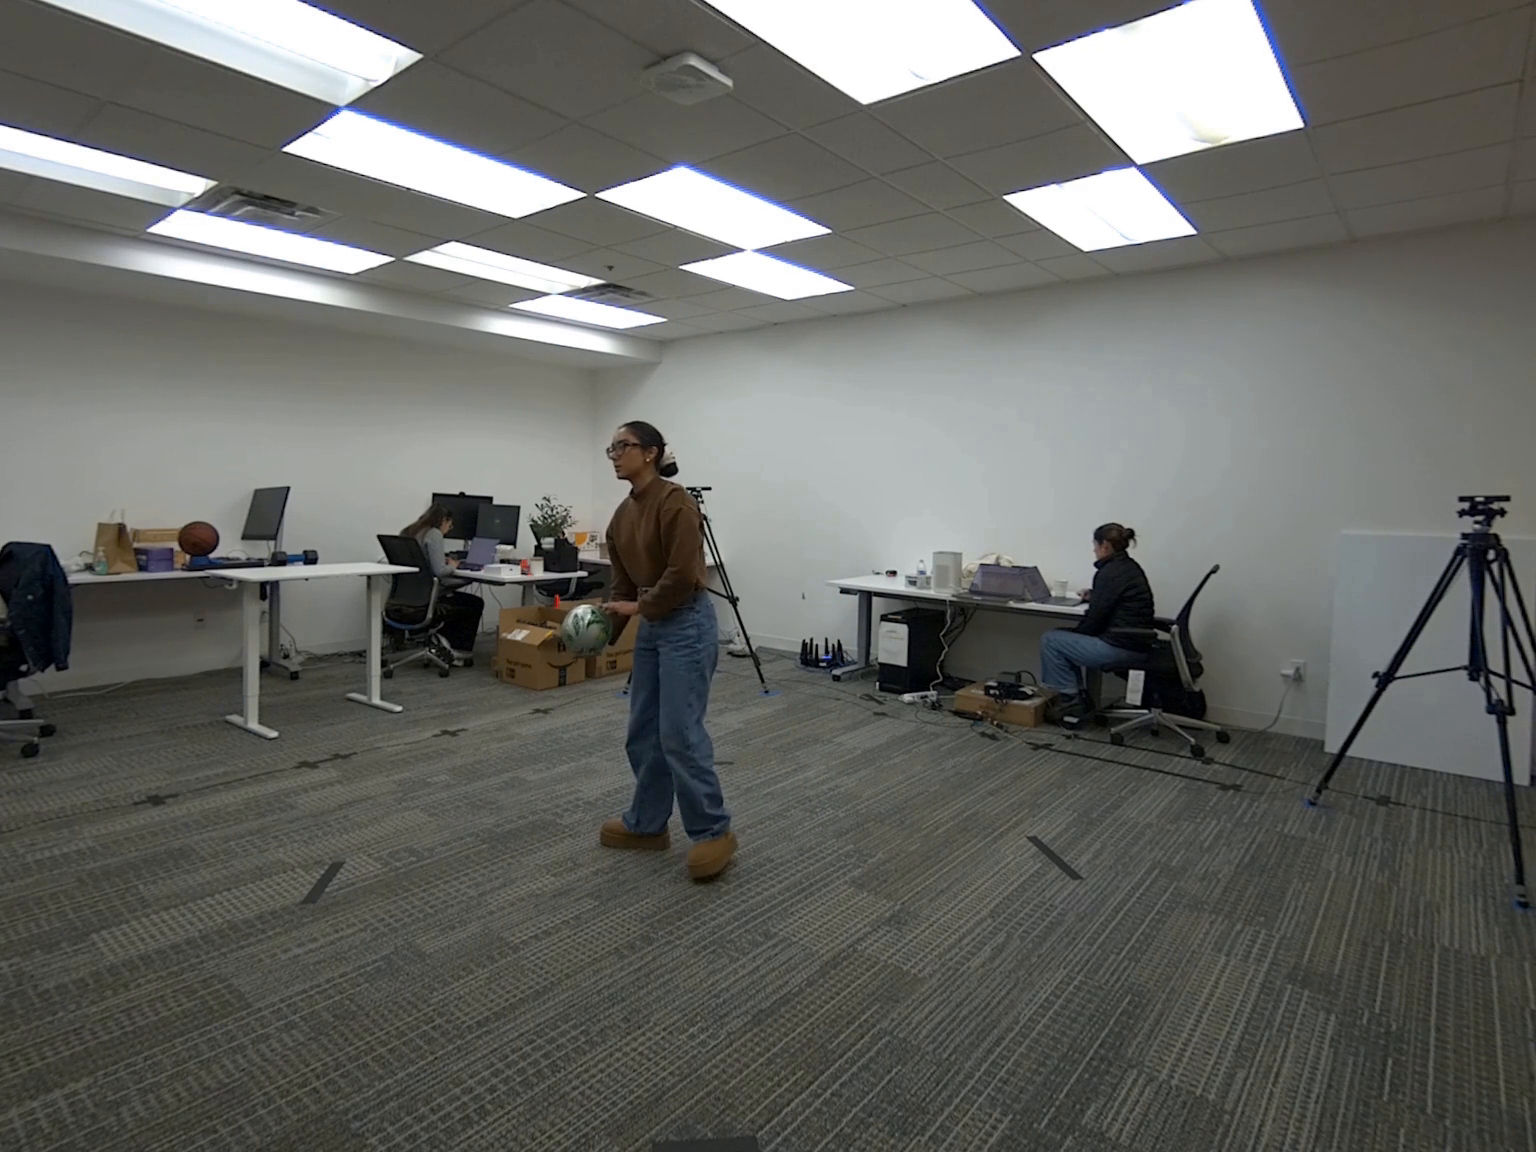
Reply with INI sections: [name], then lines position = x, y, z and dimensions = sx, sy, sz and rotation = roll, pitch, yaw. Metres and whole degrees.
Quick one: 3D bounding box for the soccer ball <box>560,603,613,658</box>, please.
[soccer ball]
position = -0.676, 0.195, 3.154
dimensions = 0.187, 0.187, 0.188
rotation = 1, 4, -2
